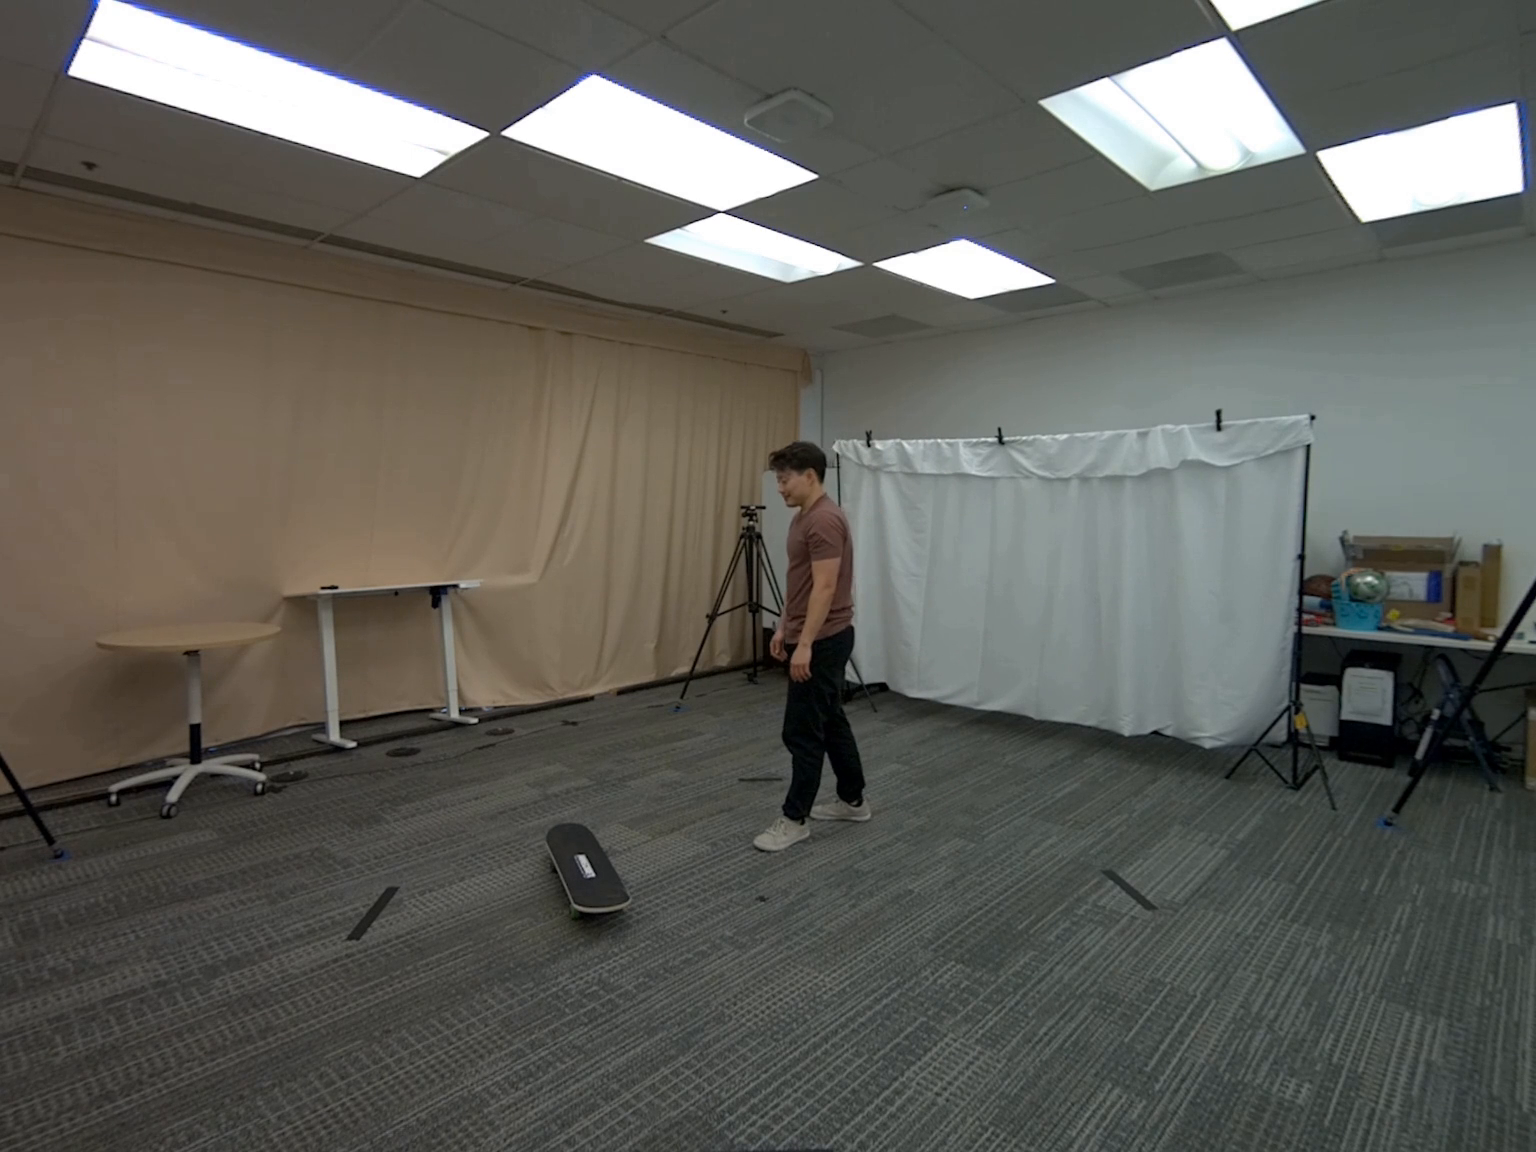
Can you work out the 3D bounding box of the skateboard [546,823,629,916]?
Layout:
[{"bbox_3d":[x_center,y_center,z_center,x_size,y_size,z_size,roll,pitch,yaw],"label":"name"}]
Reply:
[{"bbox_3d":[-0.666,1.086,3.064,0.189,0.110,0.804,-2,5,-23],"label":"skateboard"}]
